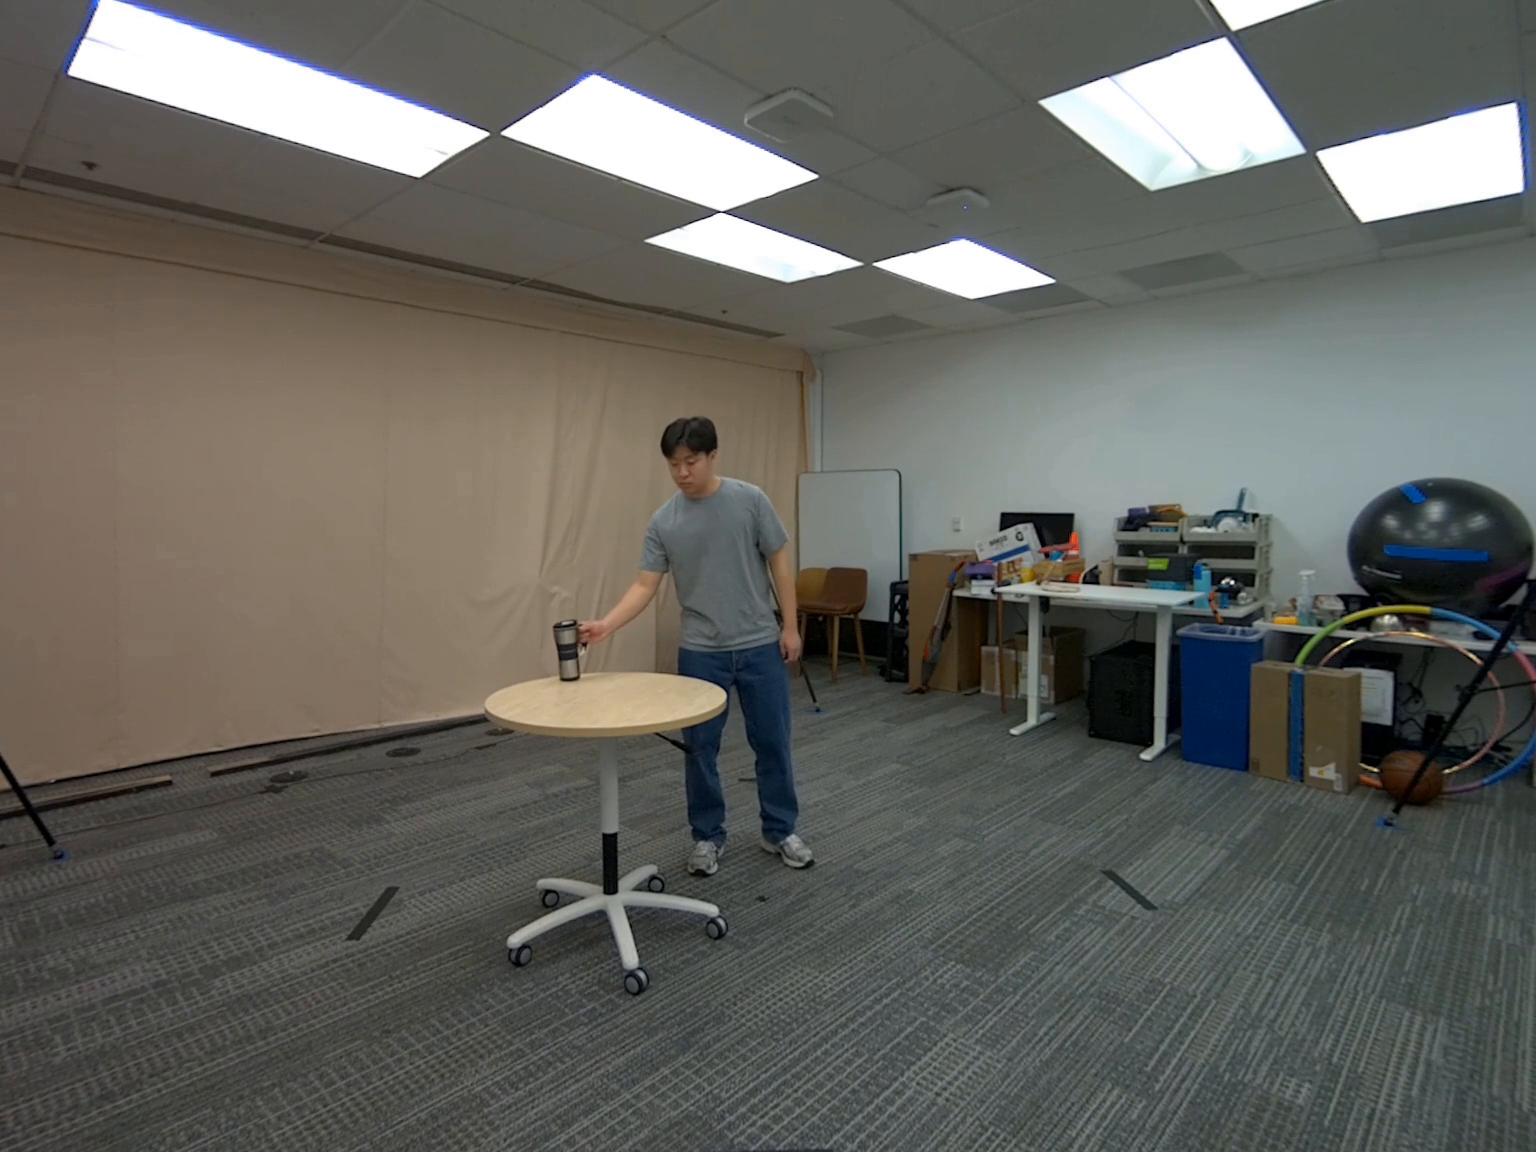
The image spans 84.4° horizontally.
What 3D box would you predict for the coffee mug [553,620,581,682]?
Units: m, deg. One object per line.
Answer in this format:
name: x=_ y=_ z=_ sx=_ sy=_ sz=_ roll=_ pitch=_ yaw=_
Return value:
coffee mug: x=-0.678 y=0.253 z=2.945 sx=0.123 sy=0.202 sz=0.087 roll=-5 pitch=2 yaw=9
